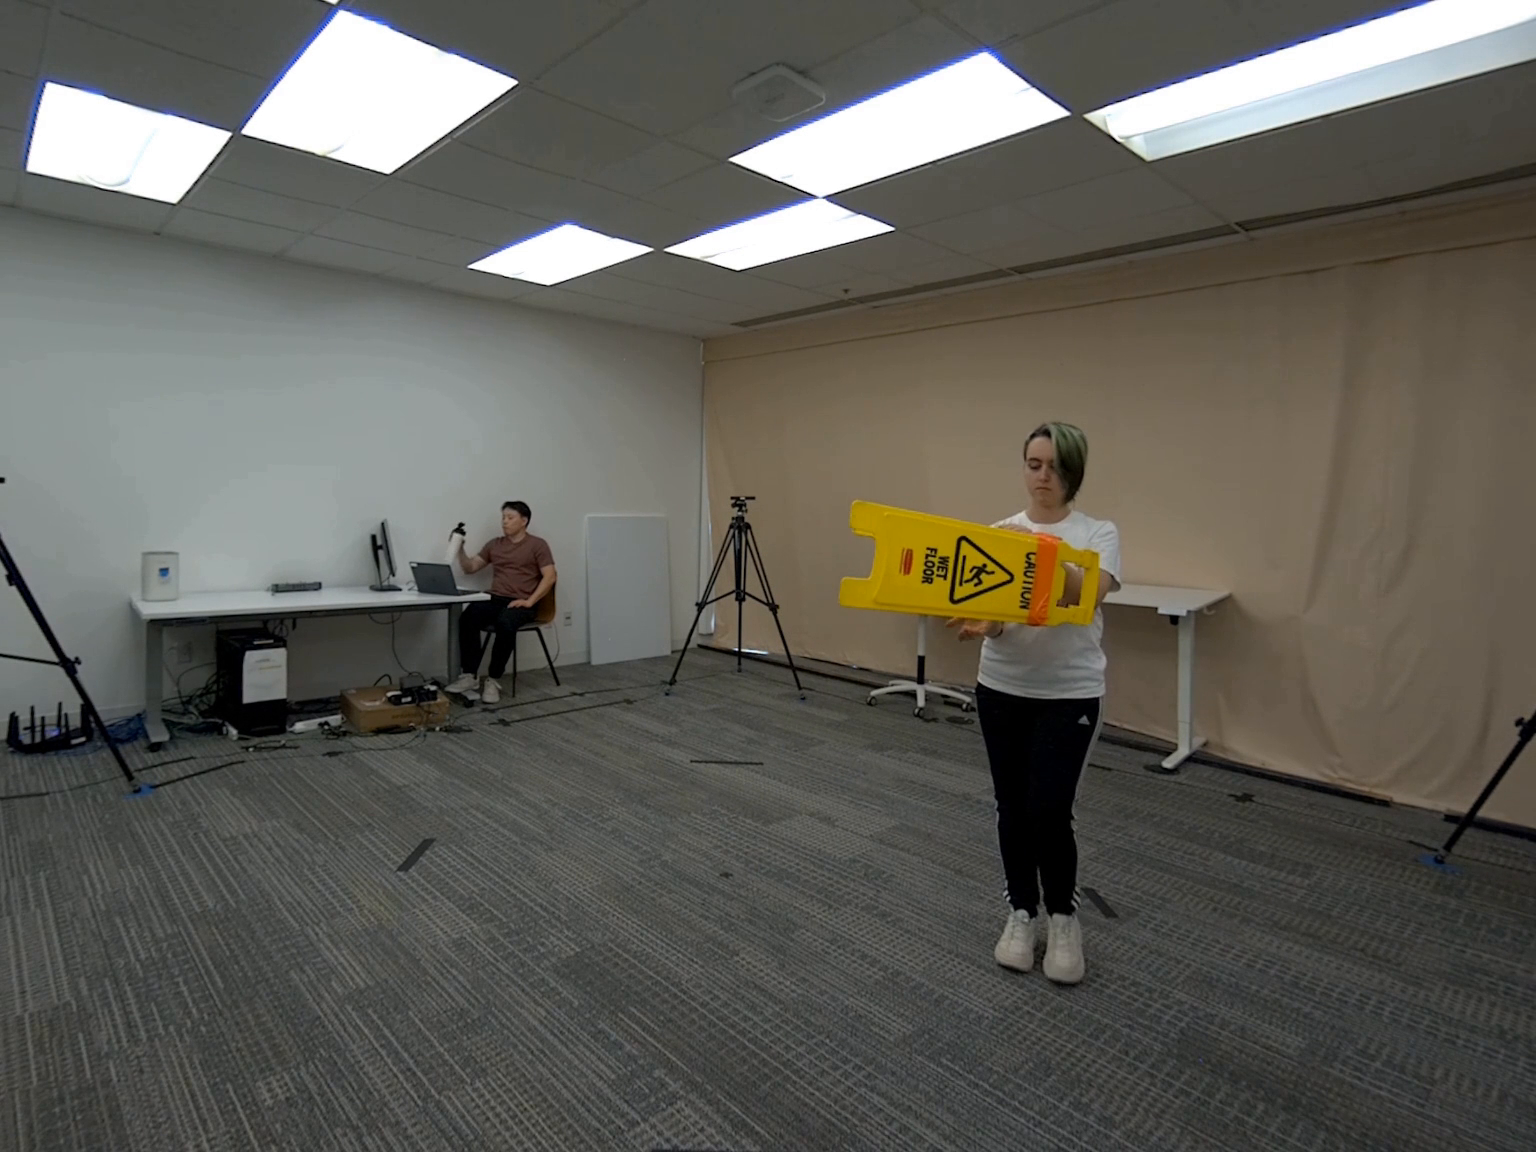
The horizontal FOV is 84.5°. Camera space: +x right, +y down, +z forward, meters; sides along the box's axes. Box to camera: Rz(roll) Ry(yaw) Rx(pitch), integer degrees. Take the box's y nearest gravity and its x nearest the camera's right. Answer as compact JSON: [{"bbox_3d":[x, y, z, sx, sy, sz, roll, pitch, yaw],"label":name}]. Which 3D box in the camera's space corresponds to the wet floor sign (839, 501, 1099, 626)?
[{"bbox_3d":[0.537,-0.002,2.248,0.652,0.282,0.286,8,-1,11],"label":"wet floor sign"}]
